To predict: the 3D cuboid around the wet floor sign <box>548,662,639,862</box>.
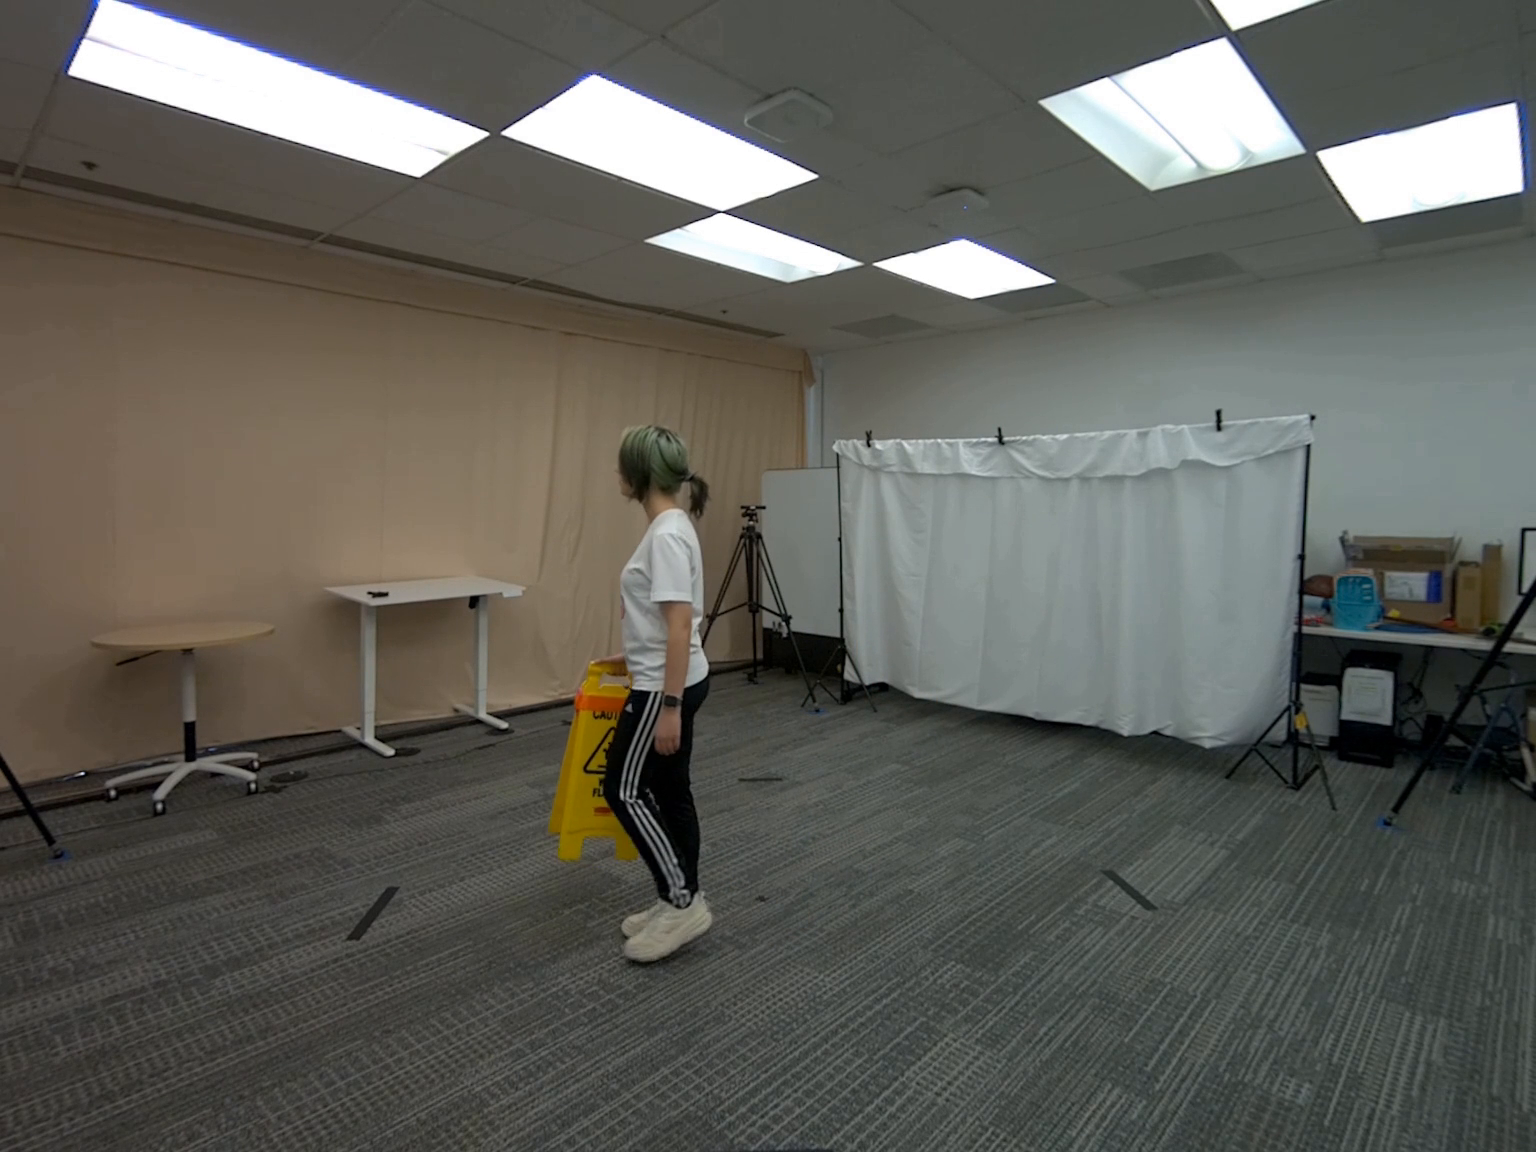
[{"bbox_3d":[-0.574,0.628,2.951,0.276,0.646,0.297,9,1,-22],"label":"wet floor sign"}]
